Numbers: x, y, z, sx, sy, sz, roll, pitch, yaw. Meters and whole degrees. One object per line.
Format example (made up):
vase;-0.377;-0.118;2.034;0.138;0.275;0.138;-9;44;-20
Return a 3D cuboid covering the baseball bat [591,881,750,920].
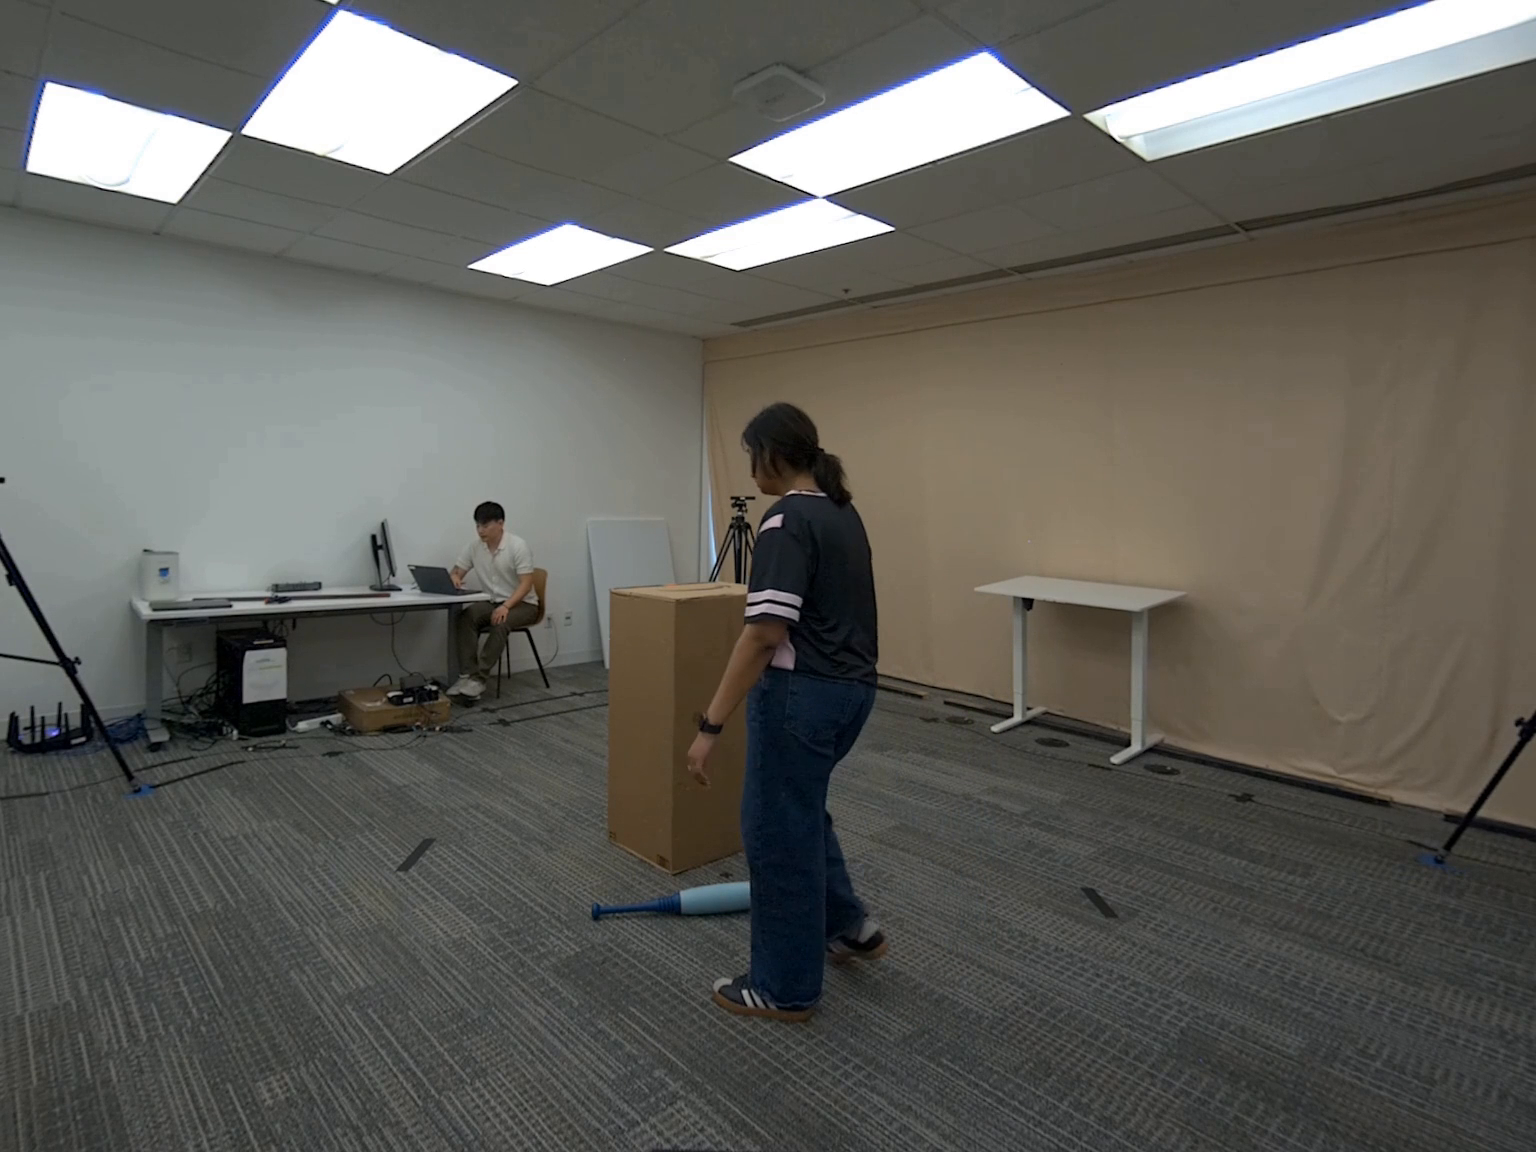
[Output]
baseball bat;-0.324;1.095;2.804;0.539;0.089;0.090;-3;5;-8
